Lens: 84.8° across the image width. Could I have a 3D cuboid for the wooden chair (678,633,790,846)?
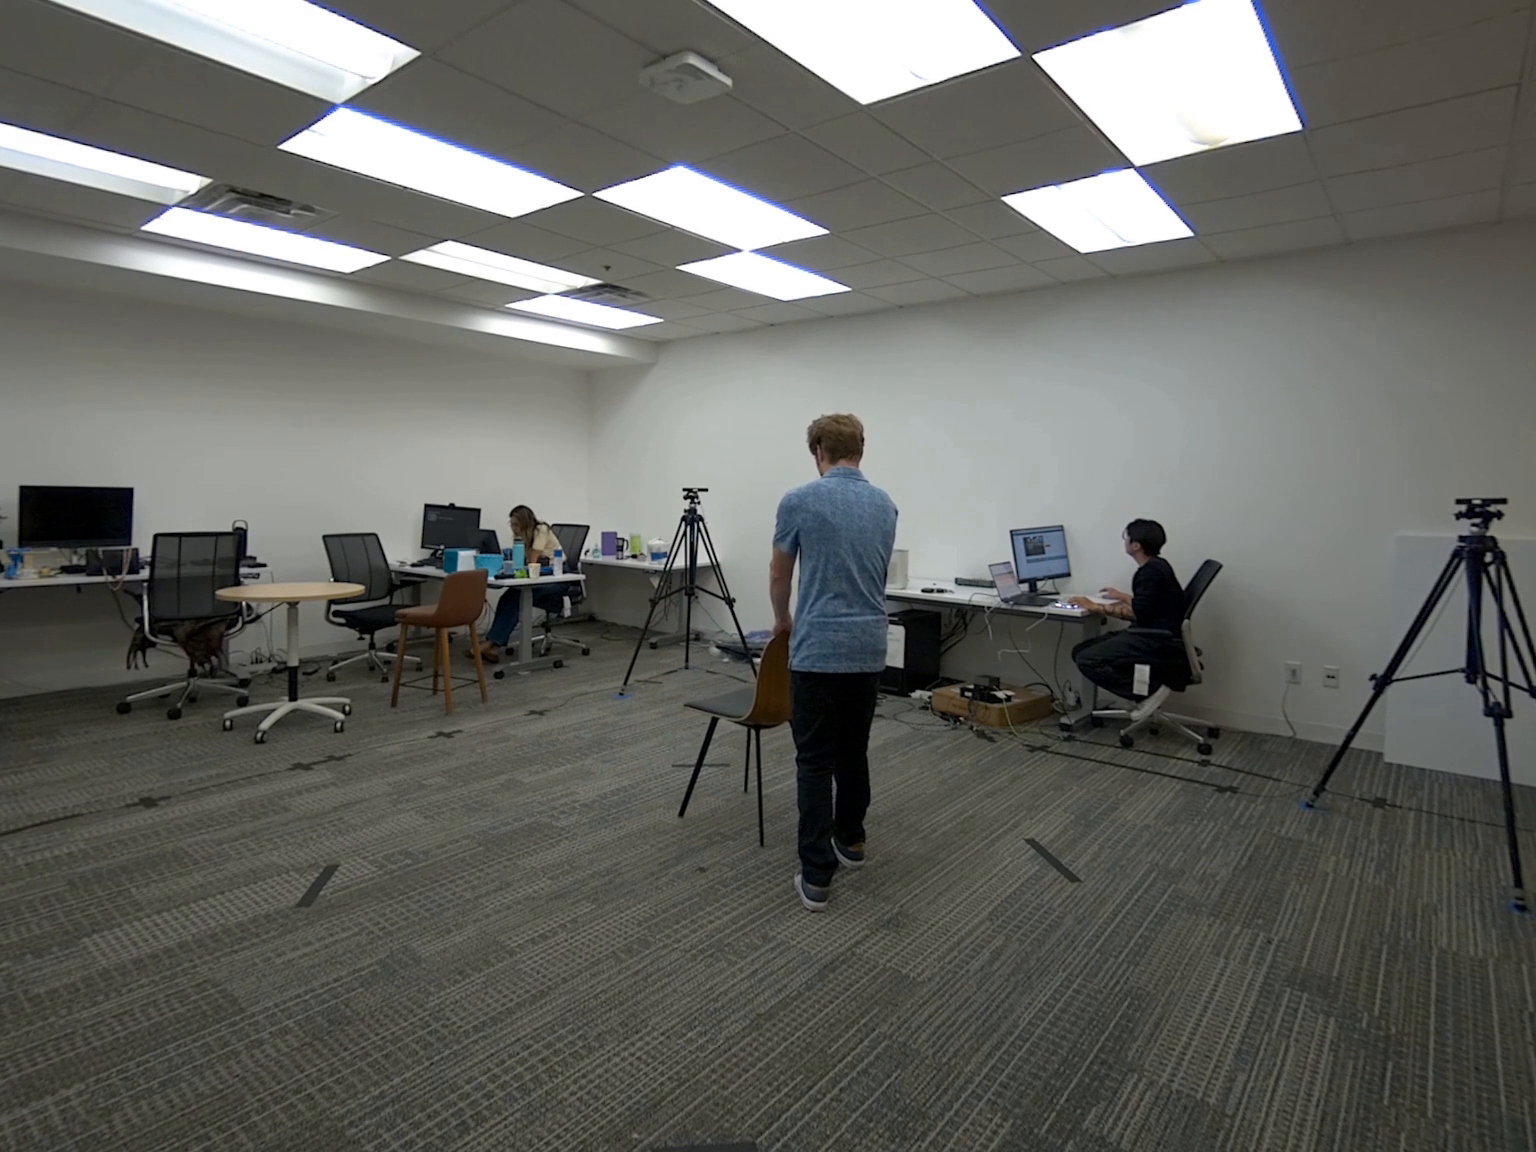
[{"bbox_3d":[-0.072,0.596,3.603,0.542,0.873,0.464,9,7,39],"label":"wooden chair"}]
